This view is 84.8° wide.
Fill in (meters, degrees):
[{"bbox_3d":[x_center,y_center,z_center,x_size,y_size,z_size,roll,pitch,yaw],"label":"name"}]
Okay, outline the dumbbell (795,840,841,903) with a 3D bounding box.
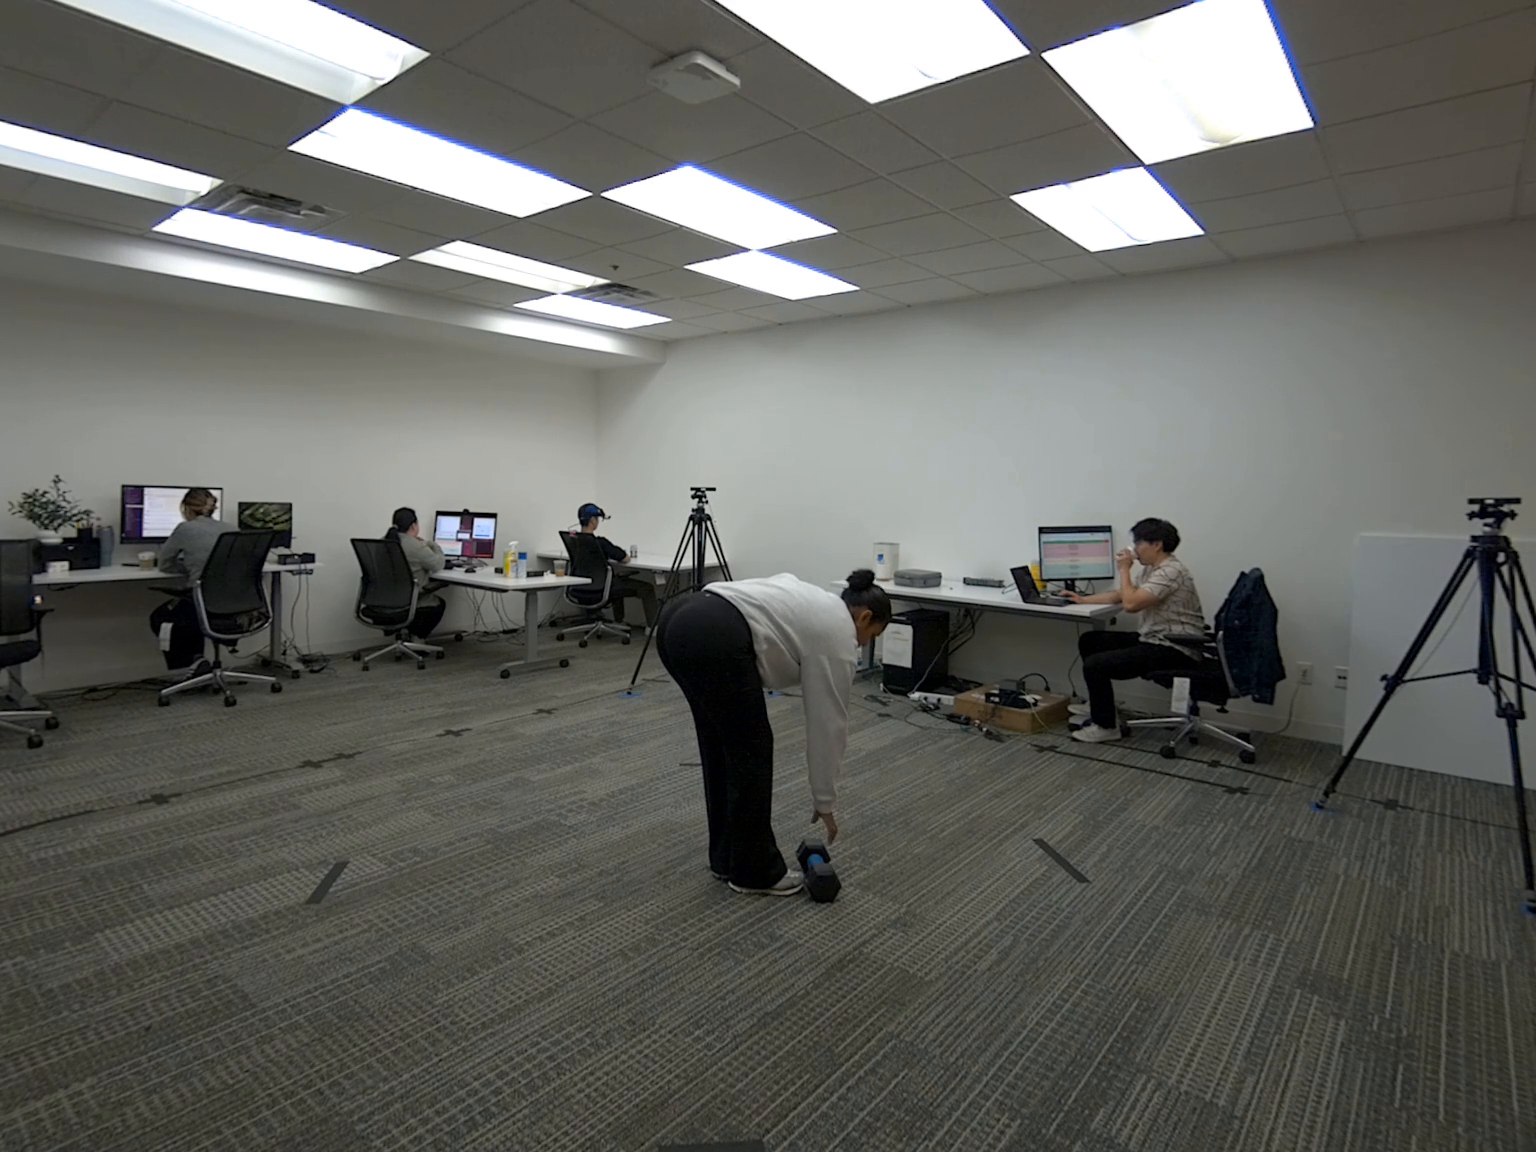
[{"bbox_3d":[0.164,1.038,3.000,0.108,0.122,0.296,-30,8,-3],"label":"dumbbell"}]
